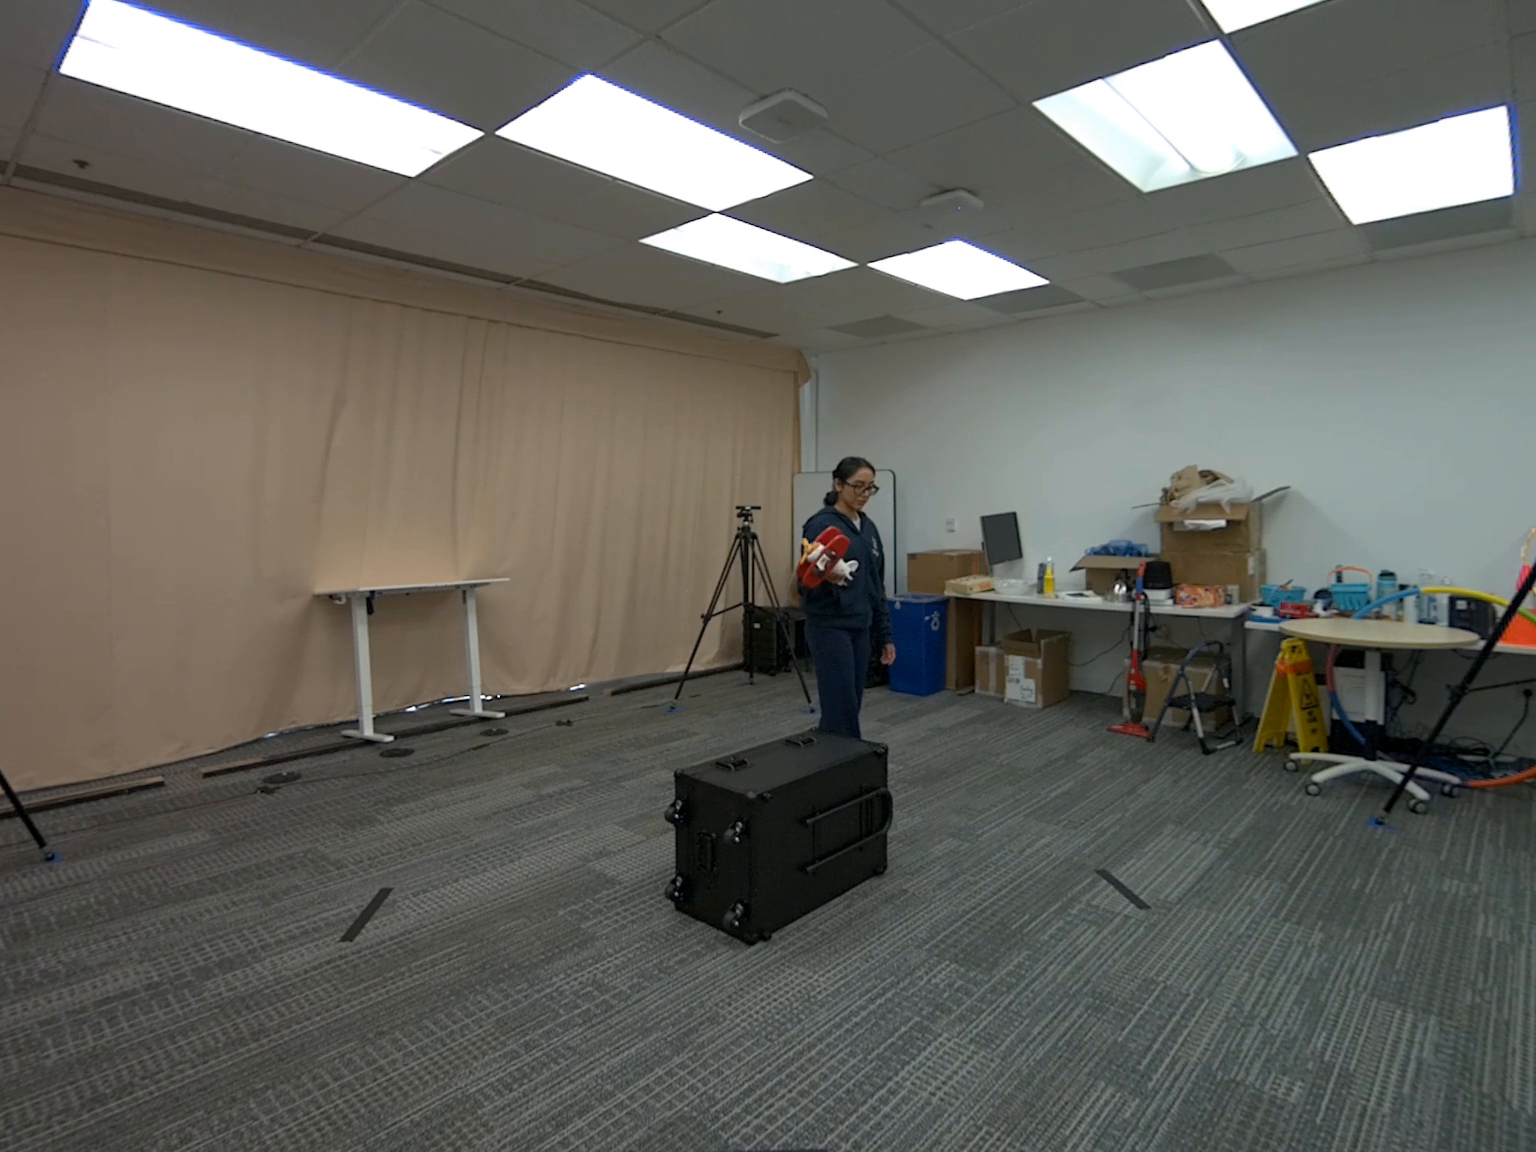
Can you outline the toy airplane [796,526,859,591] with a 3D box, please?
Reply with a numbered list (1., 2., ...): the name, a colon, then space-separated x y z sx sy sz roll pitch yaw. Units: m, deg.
1. toy airplane: 0.251 -0.043 3.450 0.250 0.251 0.162 -34 47 -7
